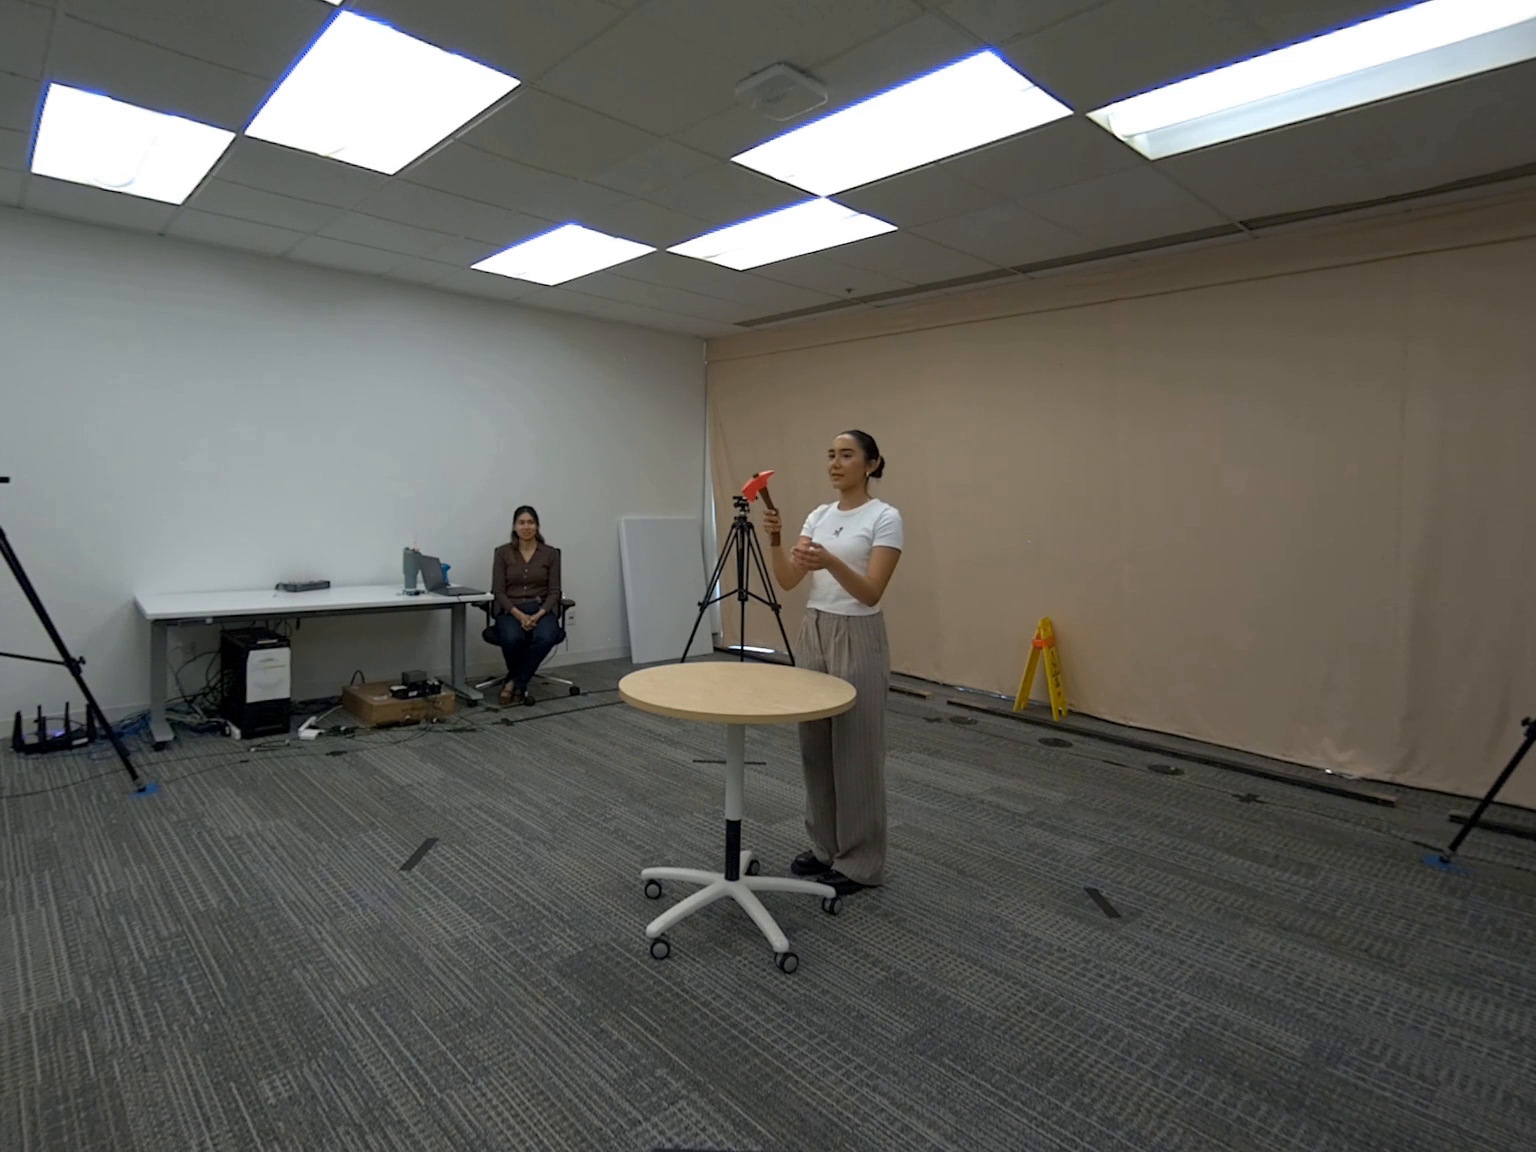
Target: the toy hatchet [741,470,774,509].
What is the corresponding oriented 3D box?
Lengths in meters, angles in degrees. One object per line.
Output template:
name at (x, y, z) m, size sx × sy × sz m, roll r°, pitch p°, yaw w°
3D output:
toy hatchet at (-0.024, -0.216, 2.829) m, size 0.129 × 0.266 × 0.030 m, roll -16°, pitch 18°, yaw -26°
